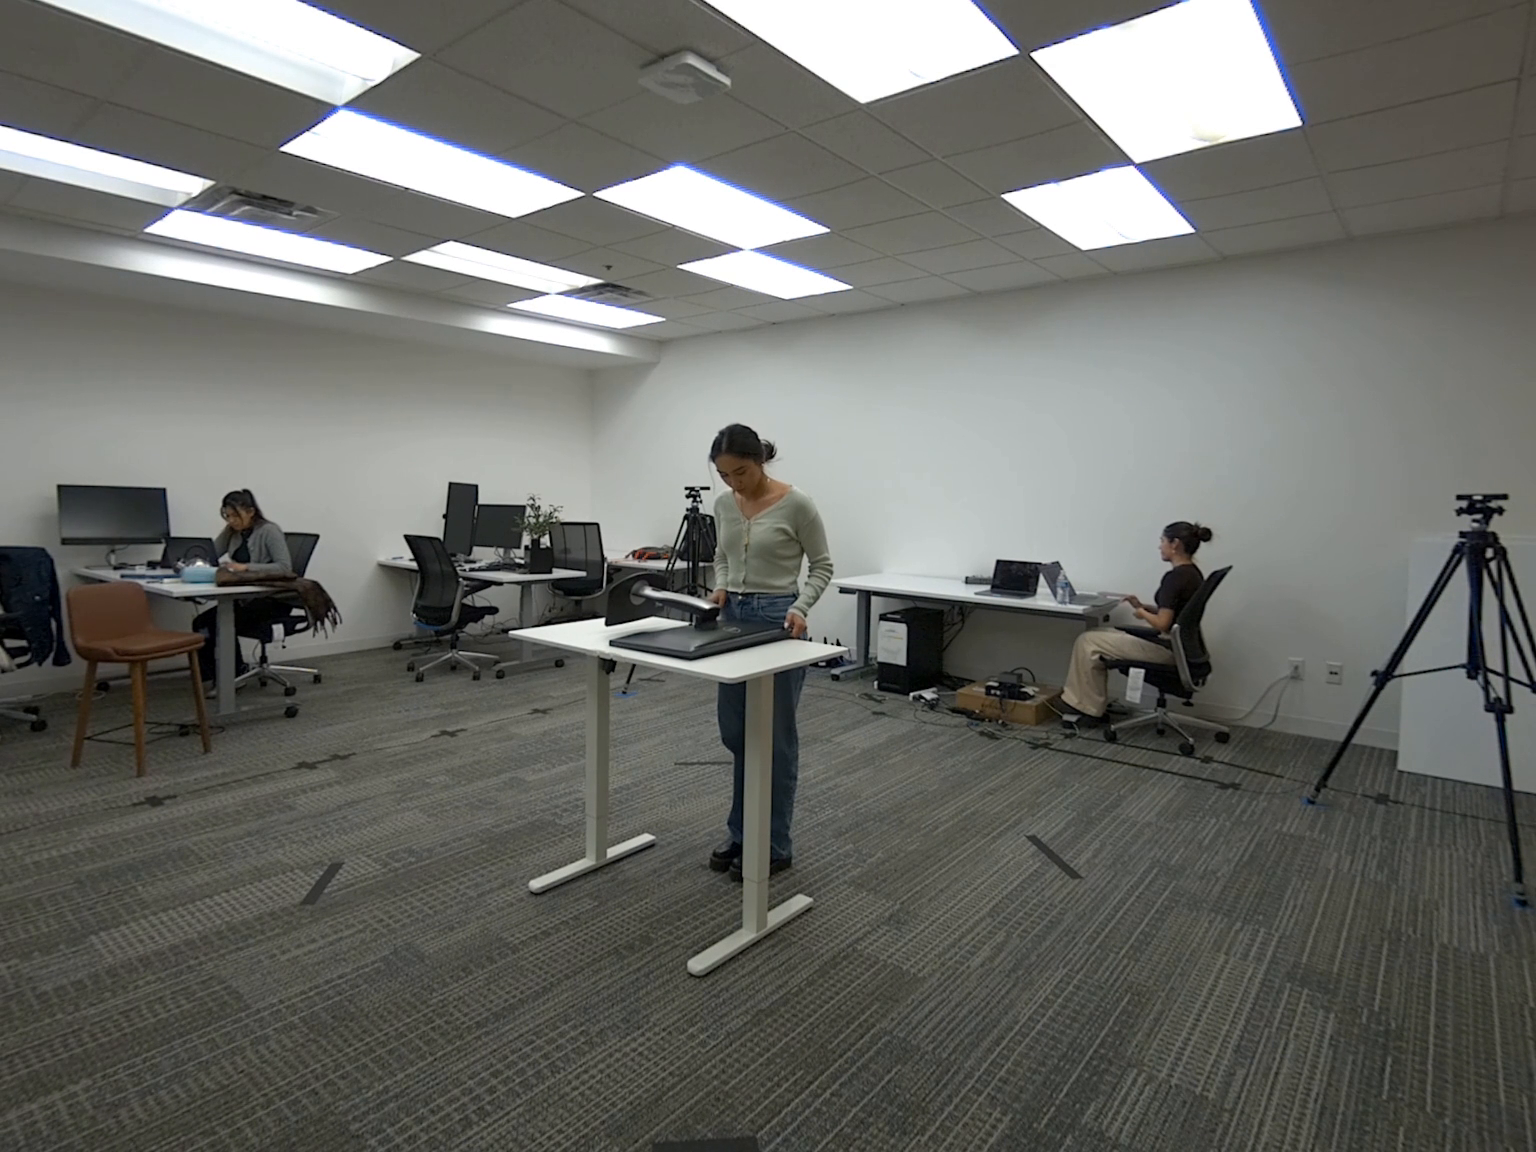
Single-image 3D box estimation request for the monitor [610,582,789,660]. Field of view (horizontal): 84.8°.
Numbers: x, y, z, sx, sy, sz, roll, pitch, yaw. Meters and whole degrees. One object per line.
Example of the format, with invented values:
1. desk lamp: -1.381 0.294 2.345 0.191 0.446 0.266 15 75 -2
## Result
1. monitor: -0.286 0.146 2.849 0.543 0.185 0.525 19 19 37
